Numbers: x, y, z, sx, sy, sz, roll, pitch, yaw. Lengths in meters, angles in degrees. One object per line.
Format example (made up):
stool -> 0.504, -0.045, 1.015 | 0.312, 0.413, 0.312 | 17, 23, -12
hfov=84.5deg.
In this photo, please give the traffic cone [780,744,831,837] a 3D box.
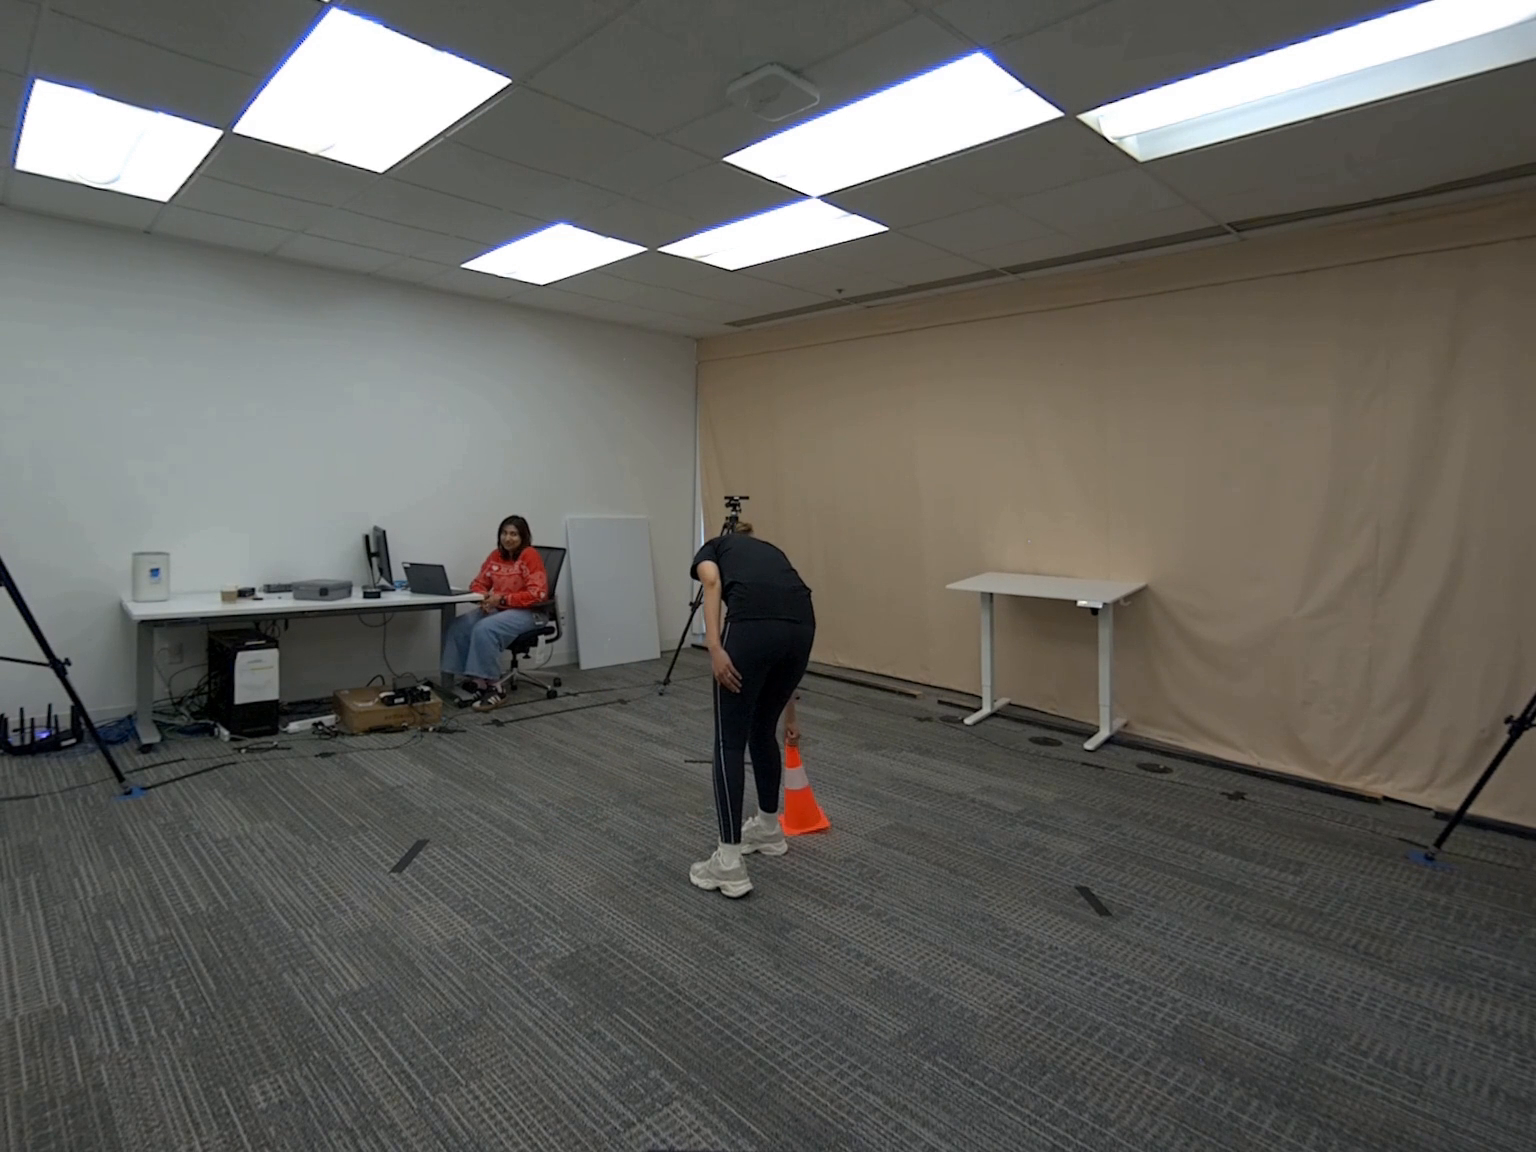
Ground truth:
traffic cone -> 0.097, 0.874, 3.586 | 0.204, 0.381, 0.206 | -12, 7, -9
